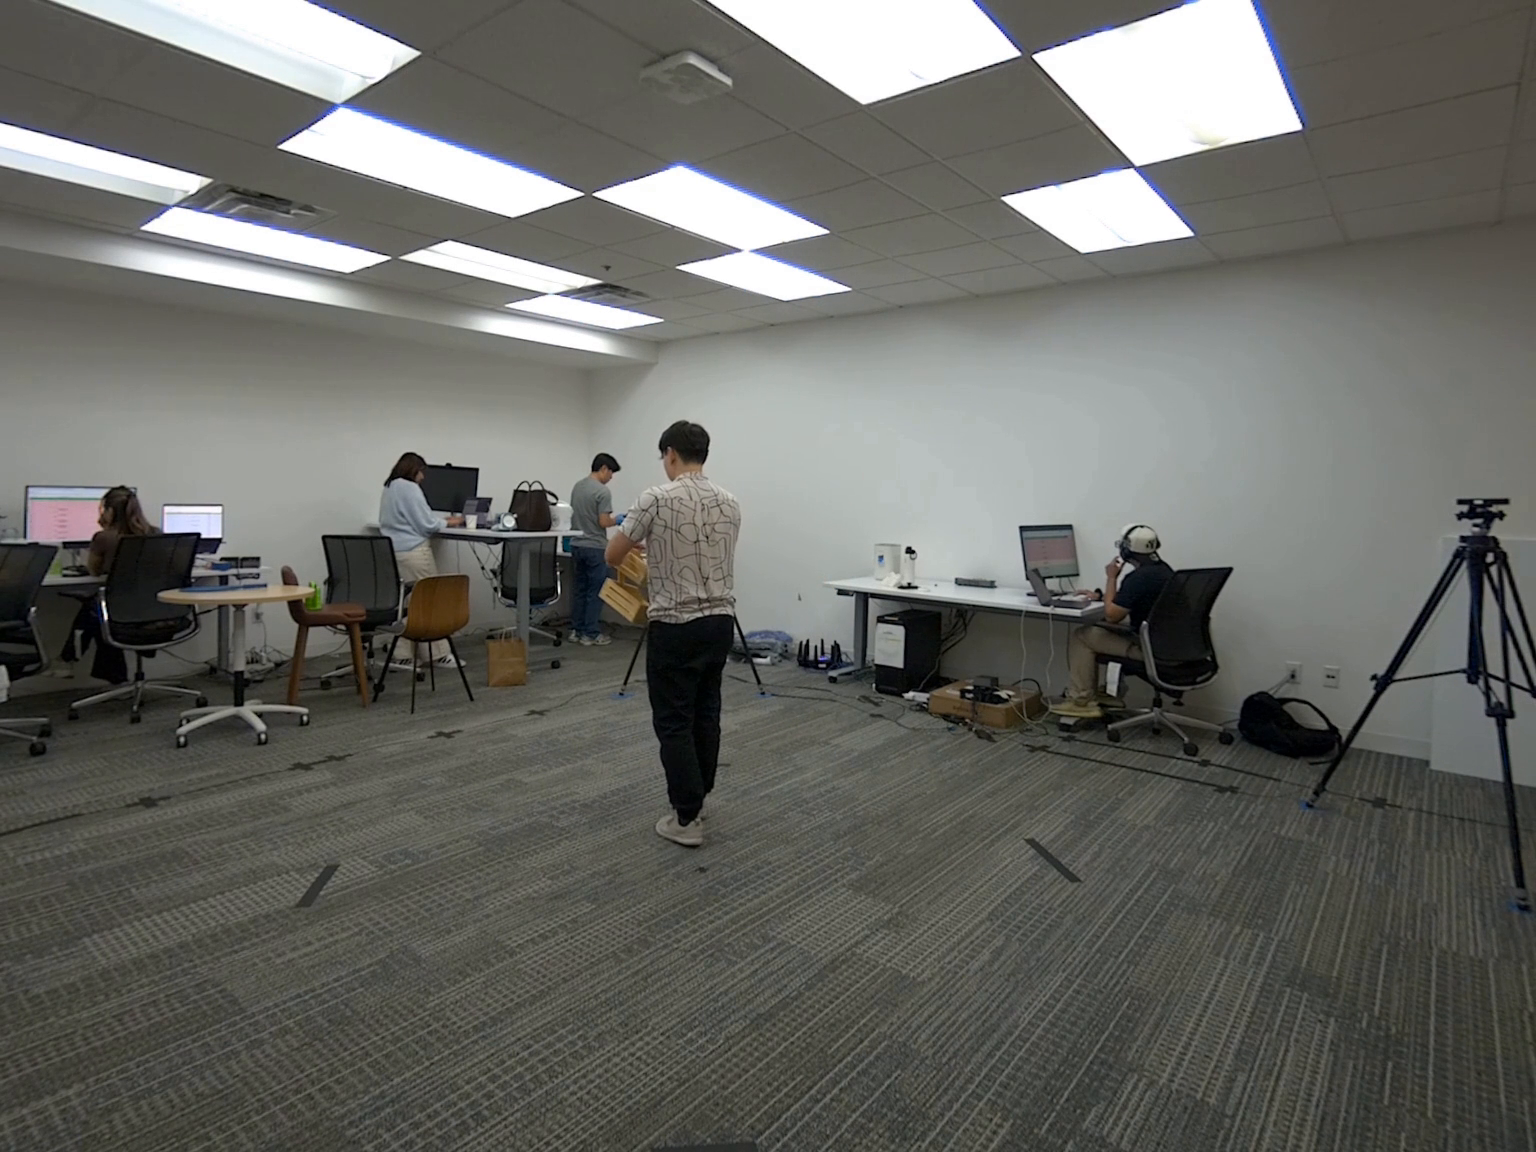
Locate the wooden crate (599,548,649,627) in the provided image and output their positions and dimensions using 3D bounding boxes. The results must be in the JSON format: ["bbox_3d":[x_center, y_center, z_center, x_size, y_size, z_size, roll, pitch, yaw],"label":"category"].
[{"bbox_3d":[-0.573,0.050,3.841,0.290,0.273,0.338,20,7,-46],"label":"wooden crate"}]
